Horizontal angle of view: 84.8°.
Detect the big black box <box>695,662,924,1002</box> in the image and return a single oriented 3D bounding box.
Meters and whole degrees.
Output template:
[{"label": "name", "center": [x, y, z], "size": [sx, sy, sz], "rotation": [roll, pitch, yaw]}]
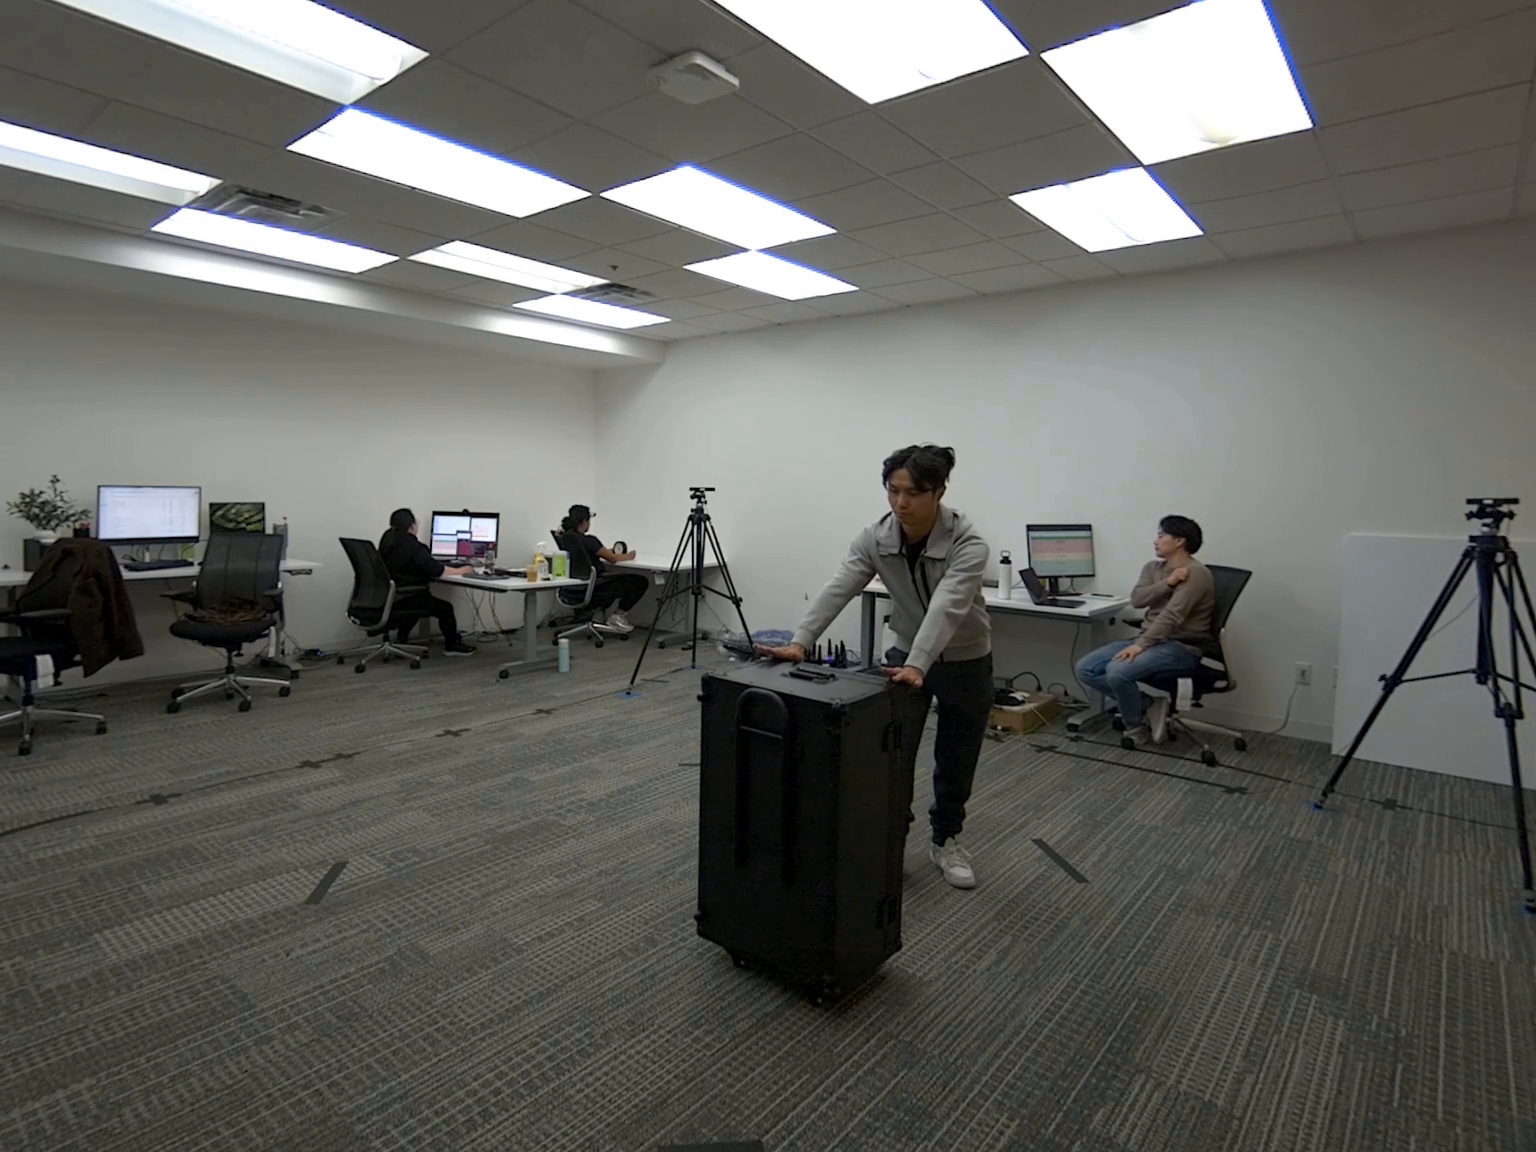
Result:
[{"label": "big black box", "center": [0.089, 0.714, 2.448], "size": [0.539, 0.858, 0.385], "rotation": [4, 6, 40]}]
